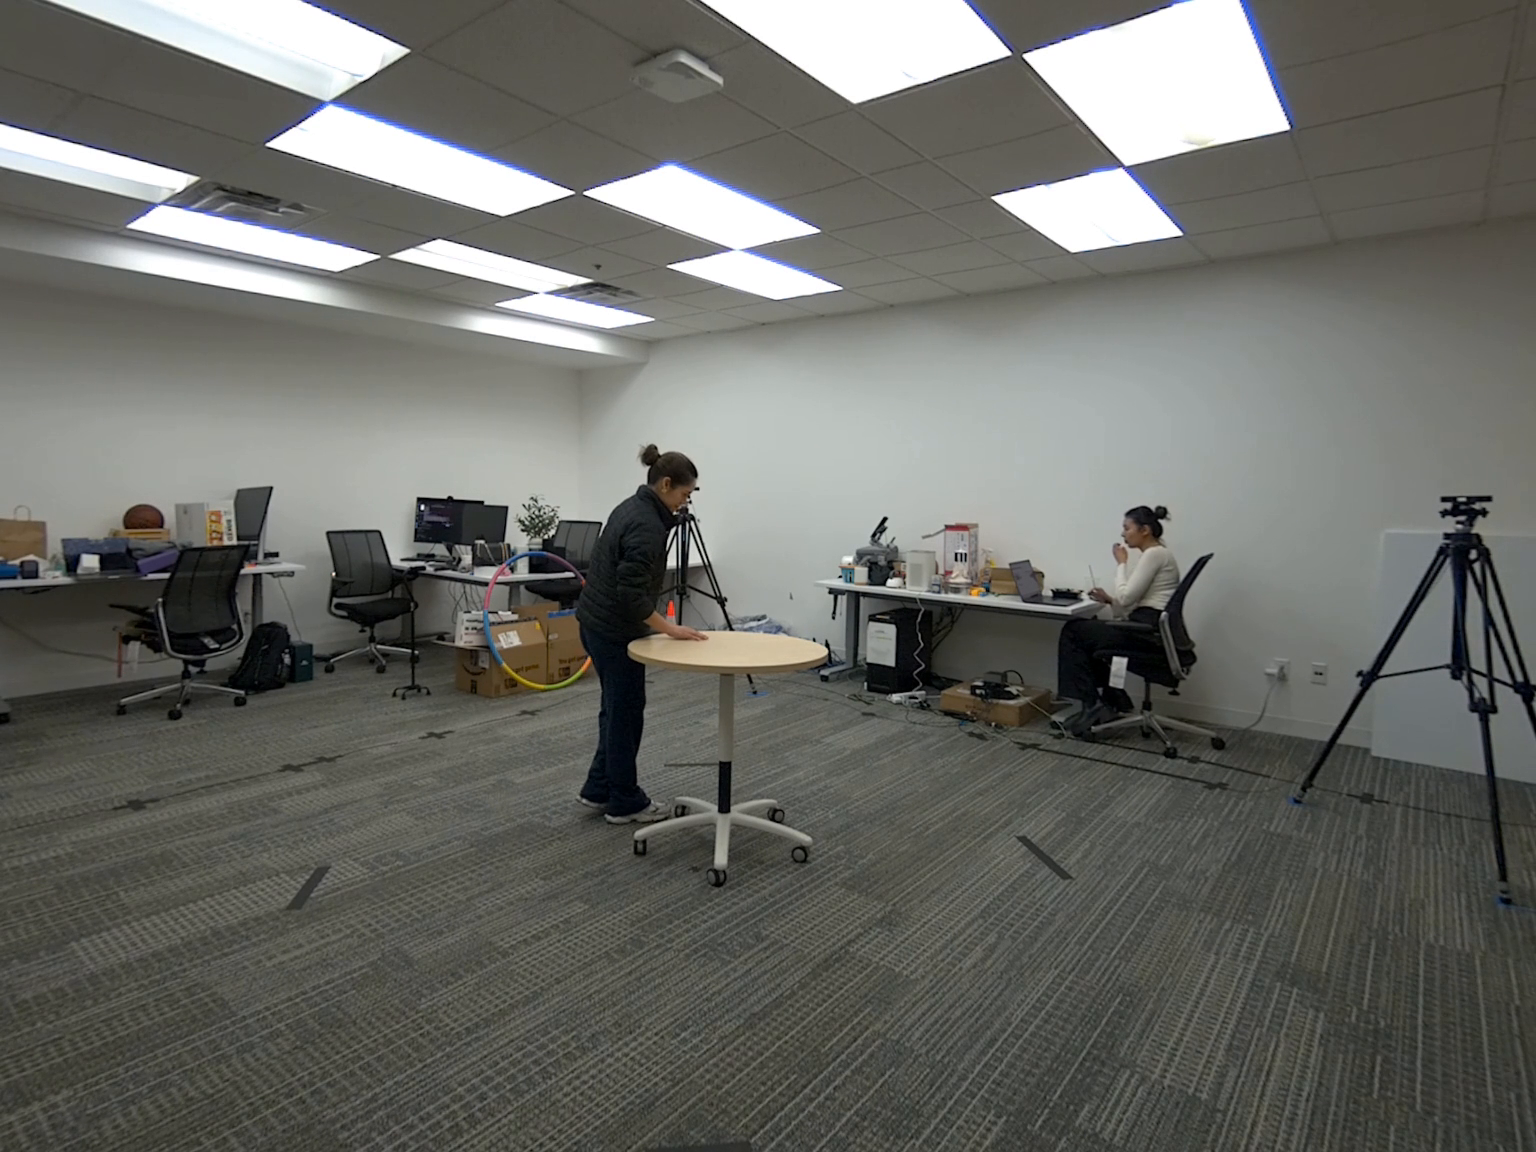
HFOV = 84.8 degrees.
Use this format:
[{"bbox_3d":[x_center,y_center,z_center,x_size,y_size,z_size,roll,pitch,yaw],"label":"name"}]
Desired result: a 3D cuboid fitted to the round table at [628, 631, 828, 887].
[{"bbox_3d":[-0.136,0.656,3.284,0.784,0.784,0.789,1,4,-2],"label":"round table"}]
